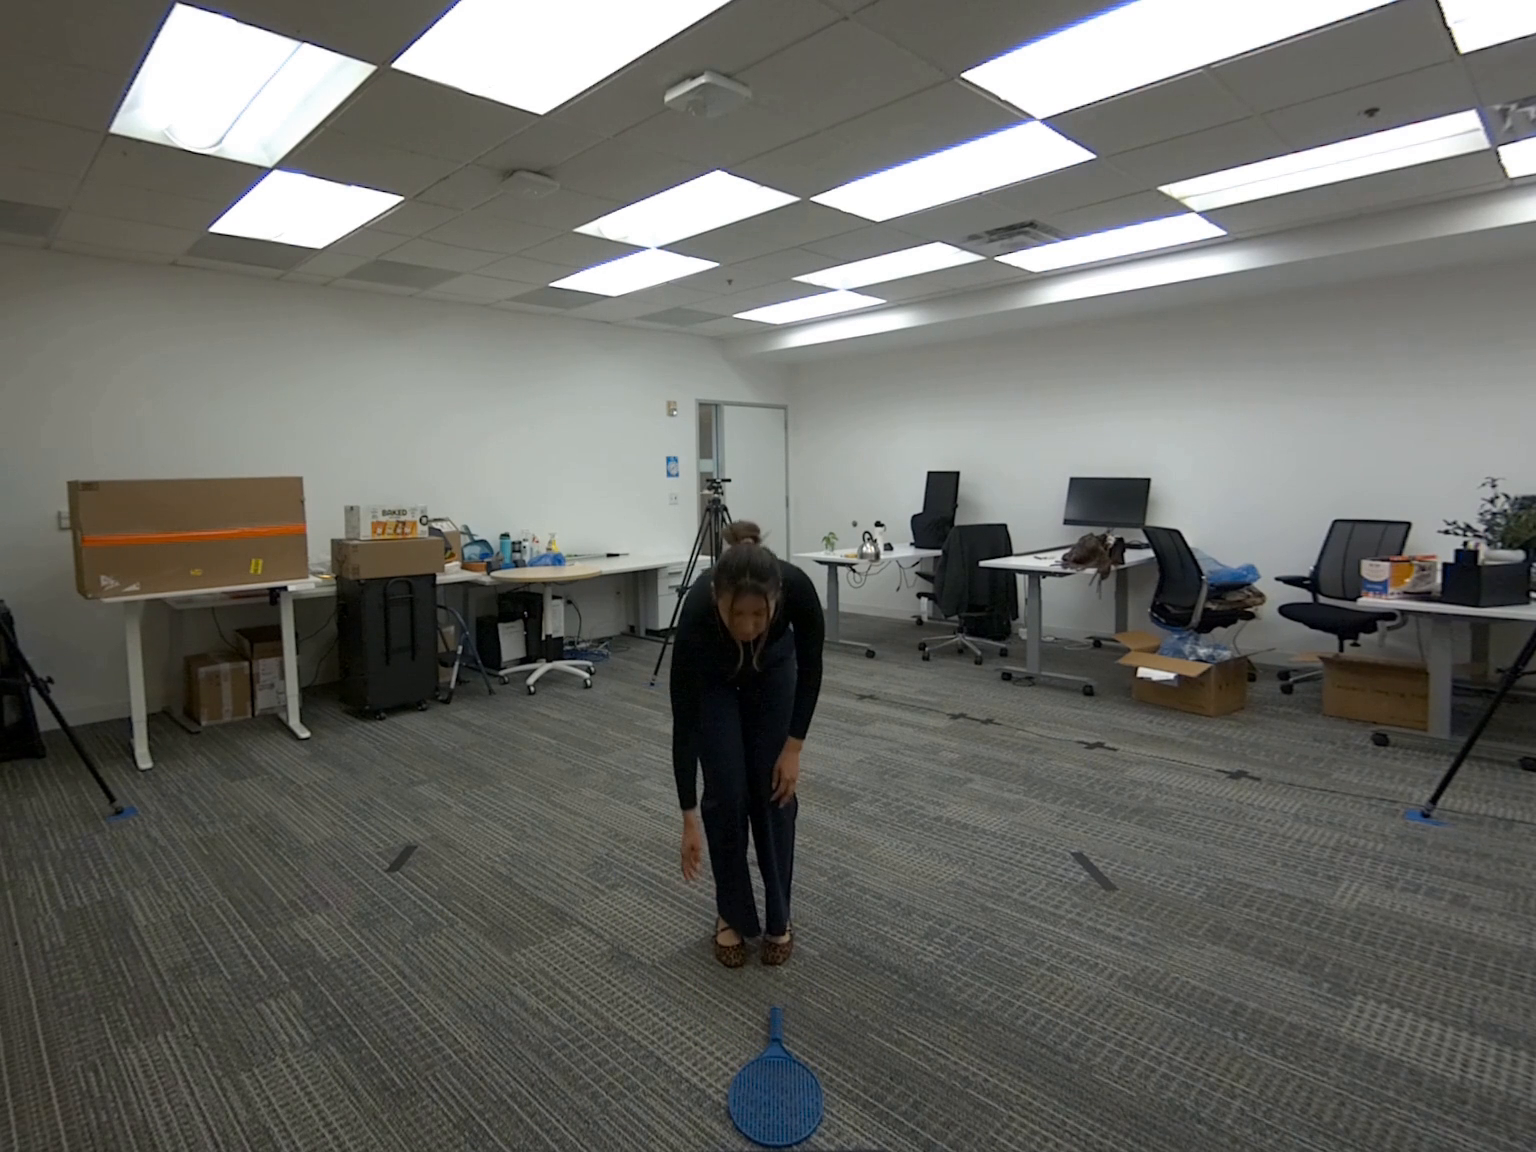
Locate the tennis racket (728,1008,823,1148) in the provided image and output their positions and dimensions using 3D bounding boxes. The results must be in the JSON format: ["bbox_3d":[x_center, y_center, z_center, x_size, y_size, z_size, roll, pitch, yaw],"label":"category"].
[{"bbox_3d":[0.022,1.172,1.996,0.214,0.031,0.435,-2,8,0],"label":"tennis racket"}]
